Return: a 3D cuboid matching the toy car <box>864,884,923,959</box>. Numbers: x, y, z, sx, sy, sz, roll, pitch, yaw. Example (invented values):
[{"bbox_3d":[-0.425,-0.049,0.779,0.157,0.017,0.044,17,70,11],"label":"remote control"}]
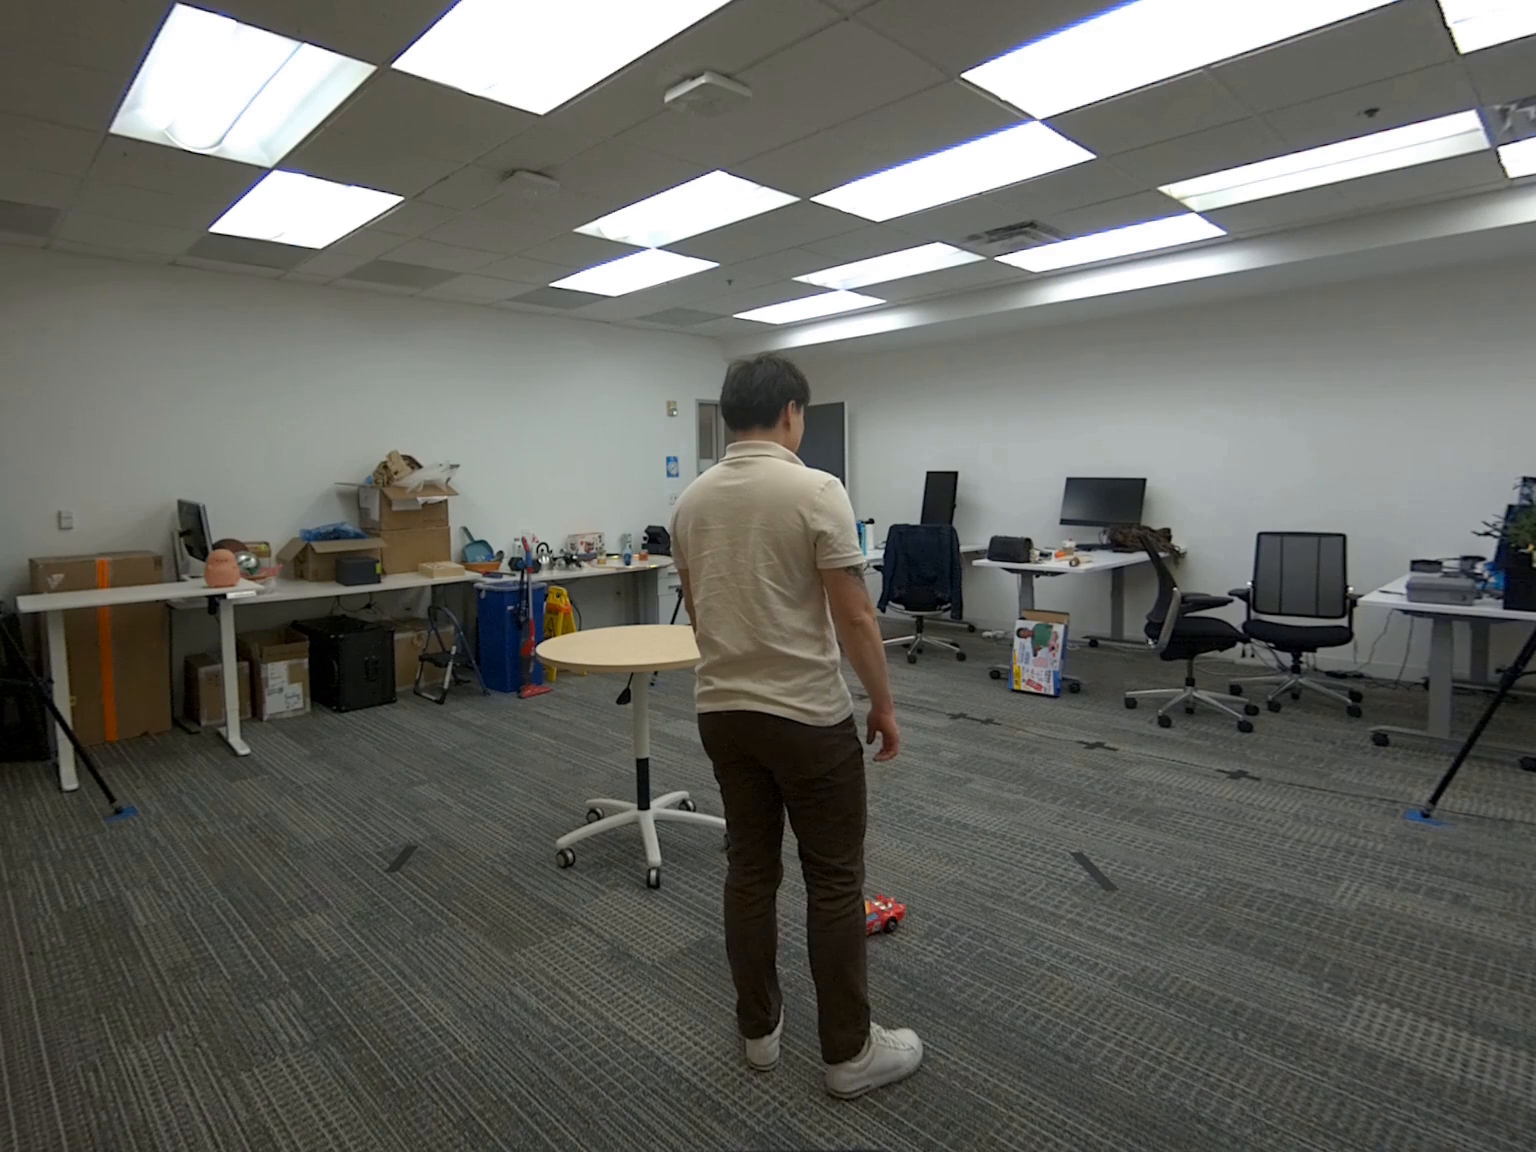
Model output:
[{"bbox_3d":[0.325,1.063,2.630,0.250,0.082,0.134,-17,13,-27],"label":"toy car"}]
